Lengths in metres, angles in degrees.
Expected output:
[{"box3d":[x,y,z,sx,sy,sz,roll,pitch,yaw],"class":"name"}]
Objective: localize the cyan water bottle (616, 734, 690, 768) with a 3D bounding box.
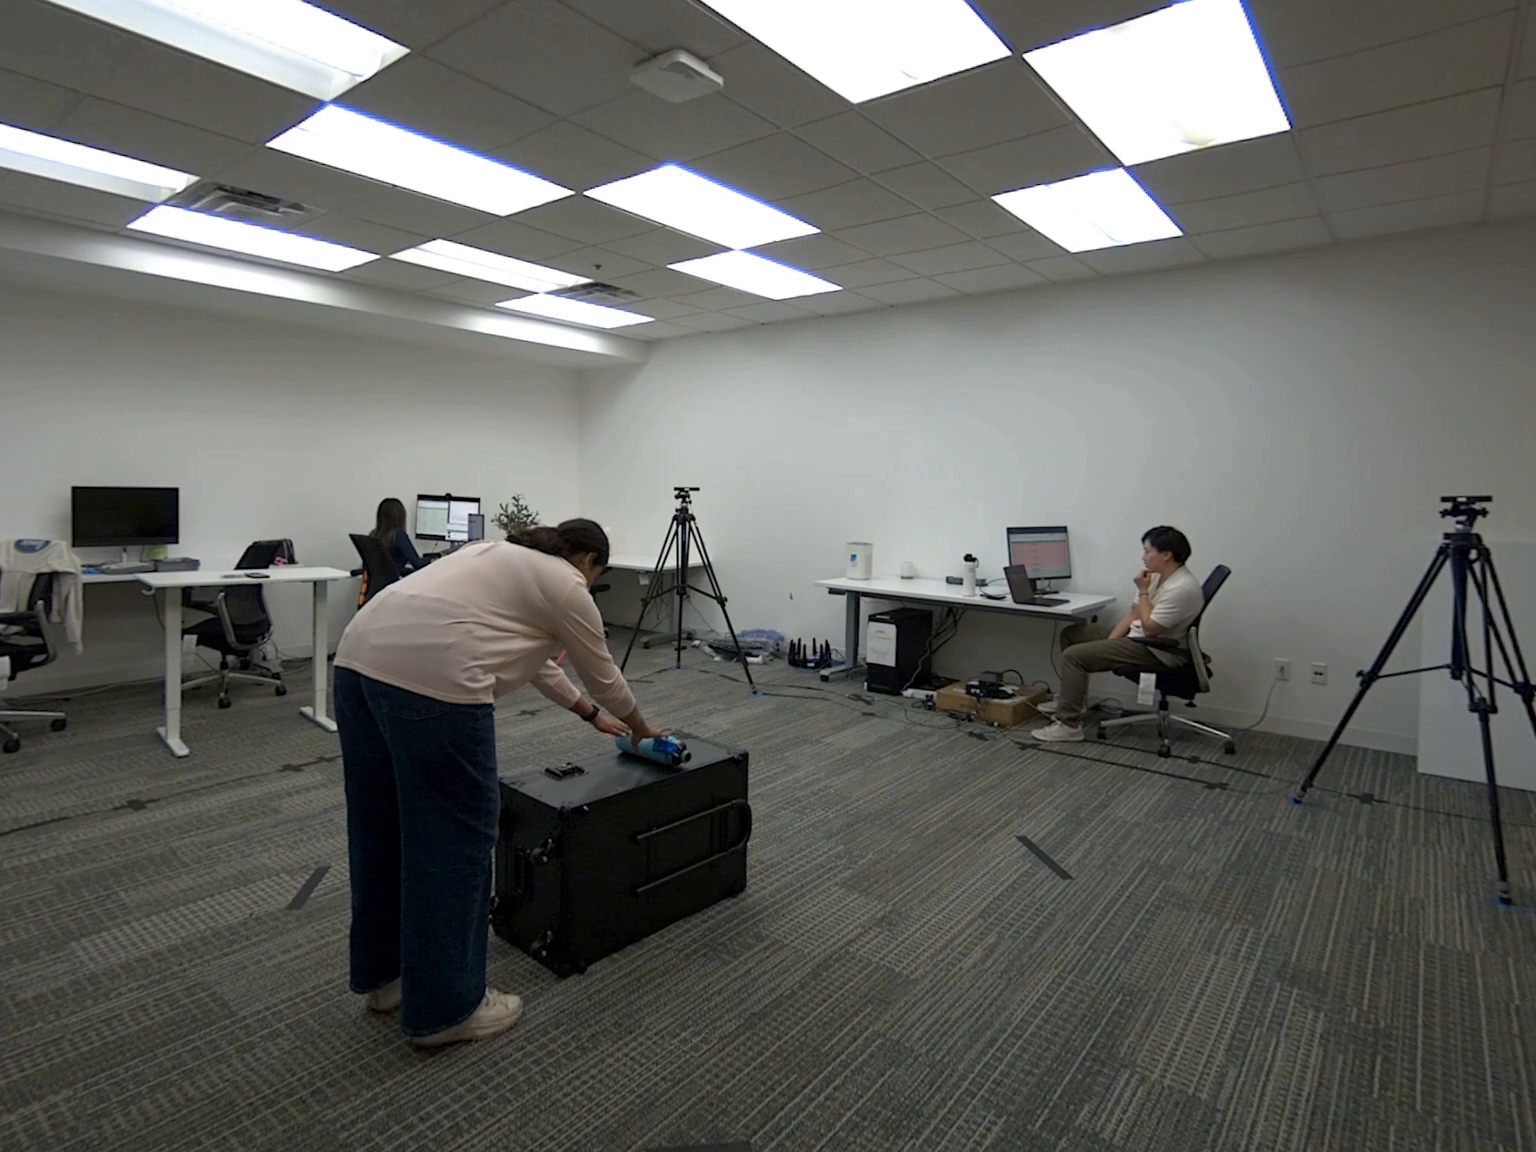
[{"box3d":[-0.389,0.560,2.829,0.293,0.092,0.089,6,6,38],"class":"cyan water bottle"}]
